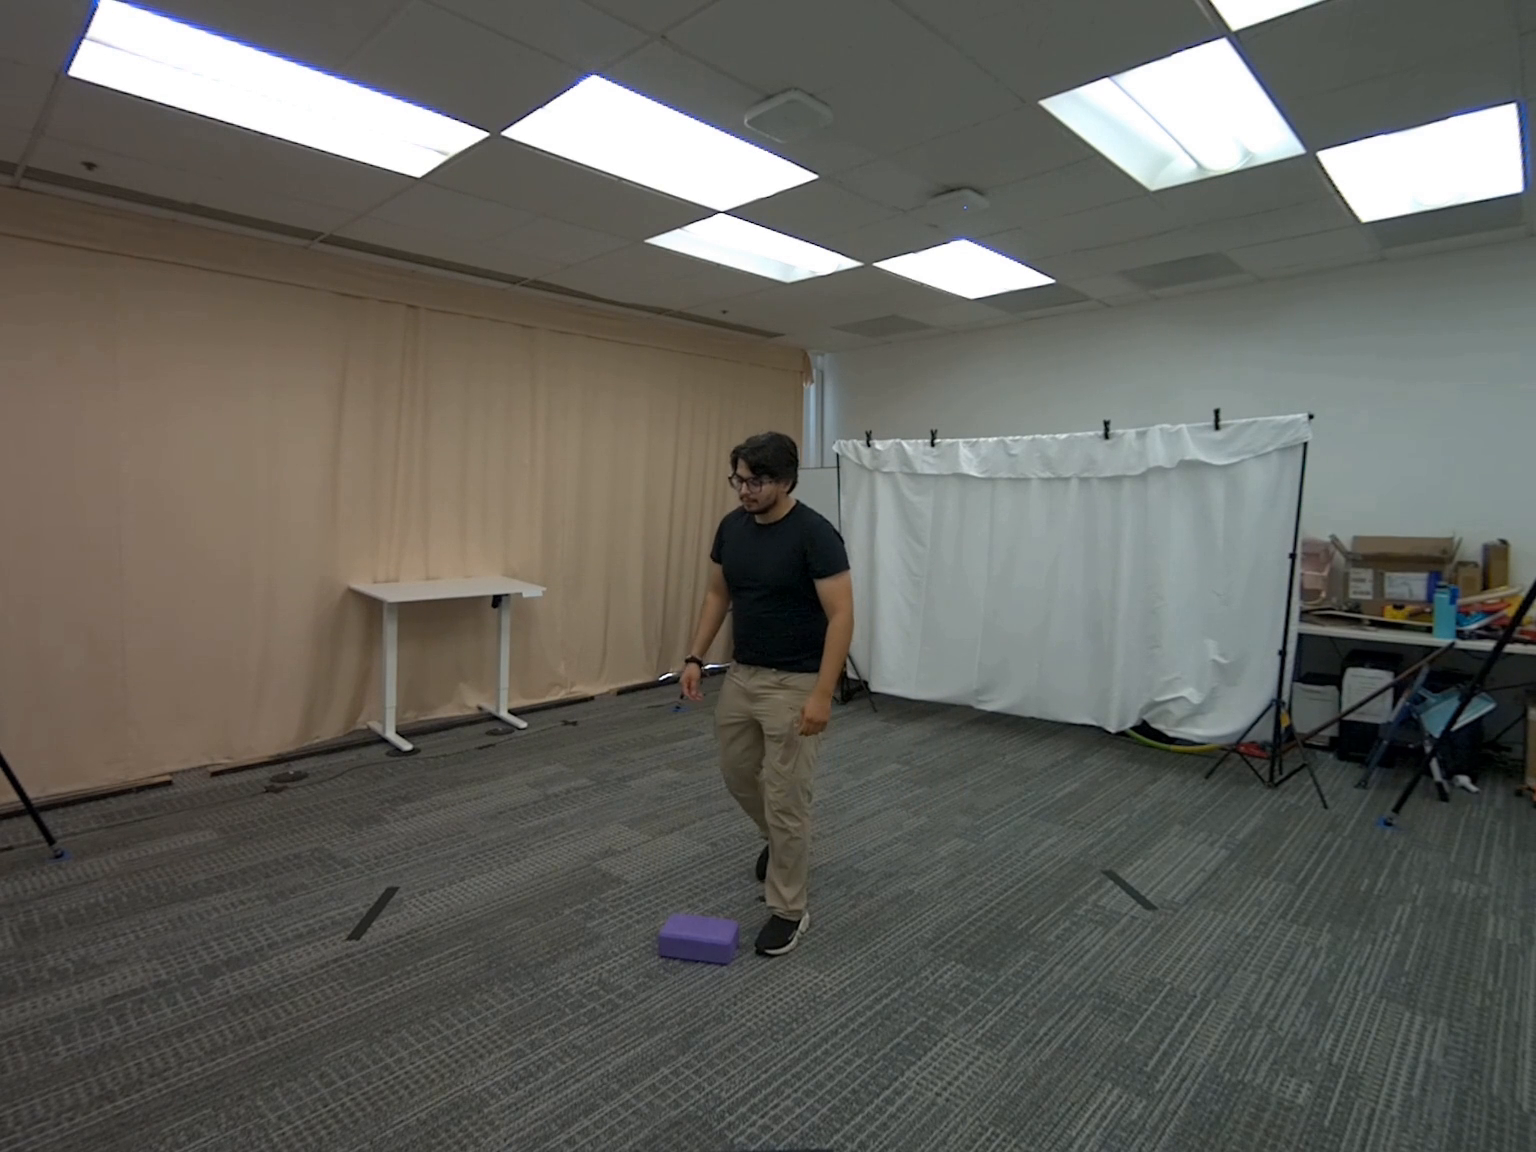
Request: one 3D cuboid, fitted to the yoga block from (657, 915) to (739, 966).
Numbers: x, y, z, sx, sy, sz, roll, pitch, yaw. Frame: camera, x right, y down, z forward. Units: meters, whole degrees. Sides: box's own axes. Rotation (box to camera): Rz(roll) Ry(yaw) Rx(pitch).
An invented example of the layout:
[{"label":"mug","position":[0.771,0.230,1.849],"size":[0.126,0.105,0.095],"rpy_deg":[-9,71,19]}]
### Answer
[{"label":"yoga block","position":[-0.209,1.132,2.637],"size":[0.233,0.076,0.147],"rpy_deg":[1,2,13]}]
